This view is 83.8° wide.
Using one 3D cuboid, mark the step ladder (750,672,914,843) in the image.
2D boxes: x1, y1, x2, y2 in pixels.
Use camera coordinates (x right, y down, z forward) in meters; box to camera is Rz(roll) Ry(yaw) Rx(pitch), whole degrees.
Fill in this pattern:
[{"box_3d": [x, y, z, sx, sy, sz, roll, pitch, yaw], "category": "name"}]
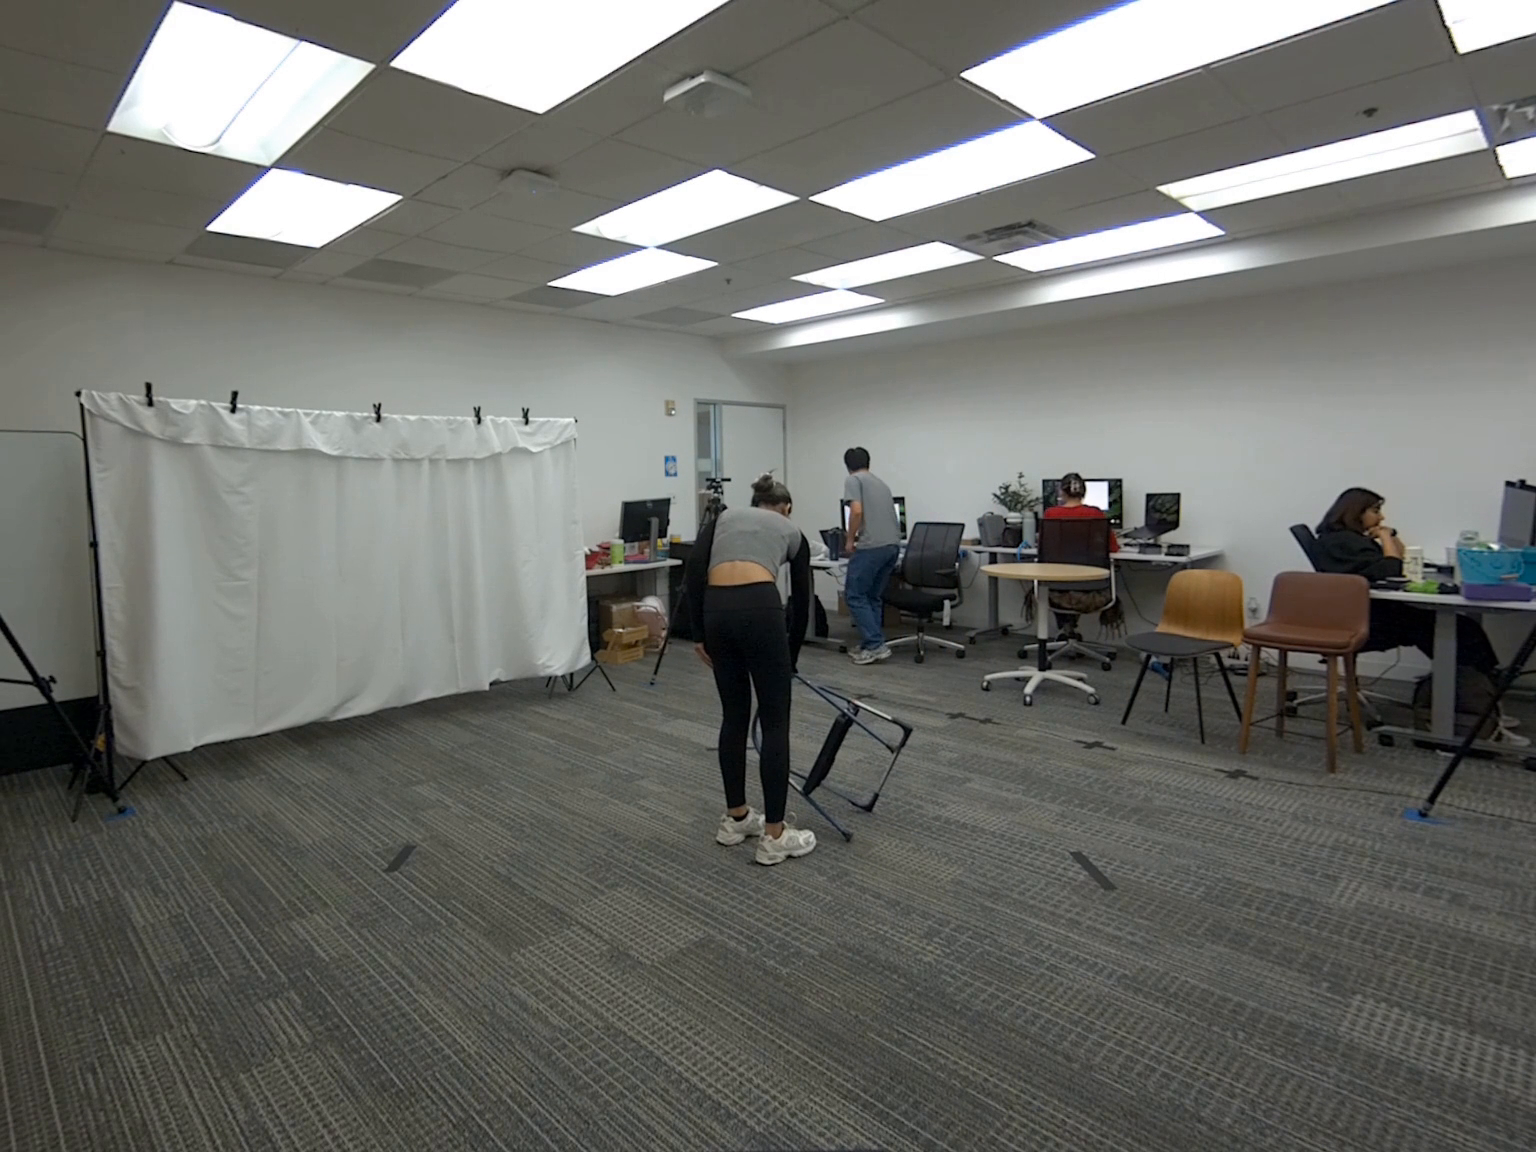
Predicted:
[{"box_3d": [0.200, 0.674, 3.476, 0.622, 0.428, 0.342, 28, 13, 20], "category": "step ladder"}]
